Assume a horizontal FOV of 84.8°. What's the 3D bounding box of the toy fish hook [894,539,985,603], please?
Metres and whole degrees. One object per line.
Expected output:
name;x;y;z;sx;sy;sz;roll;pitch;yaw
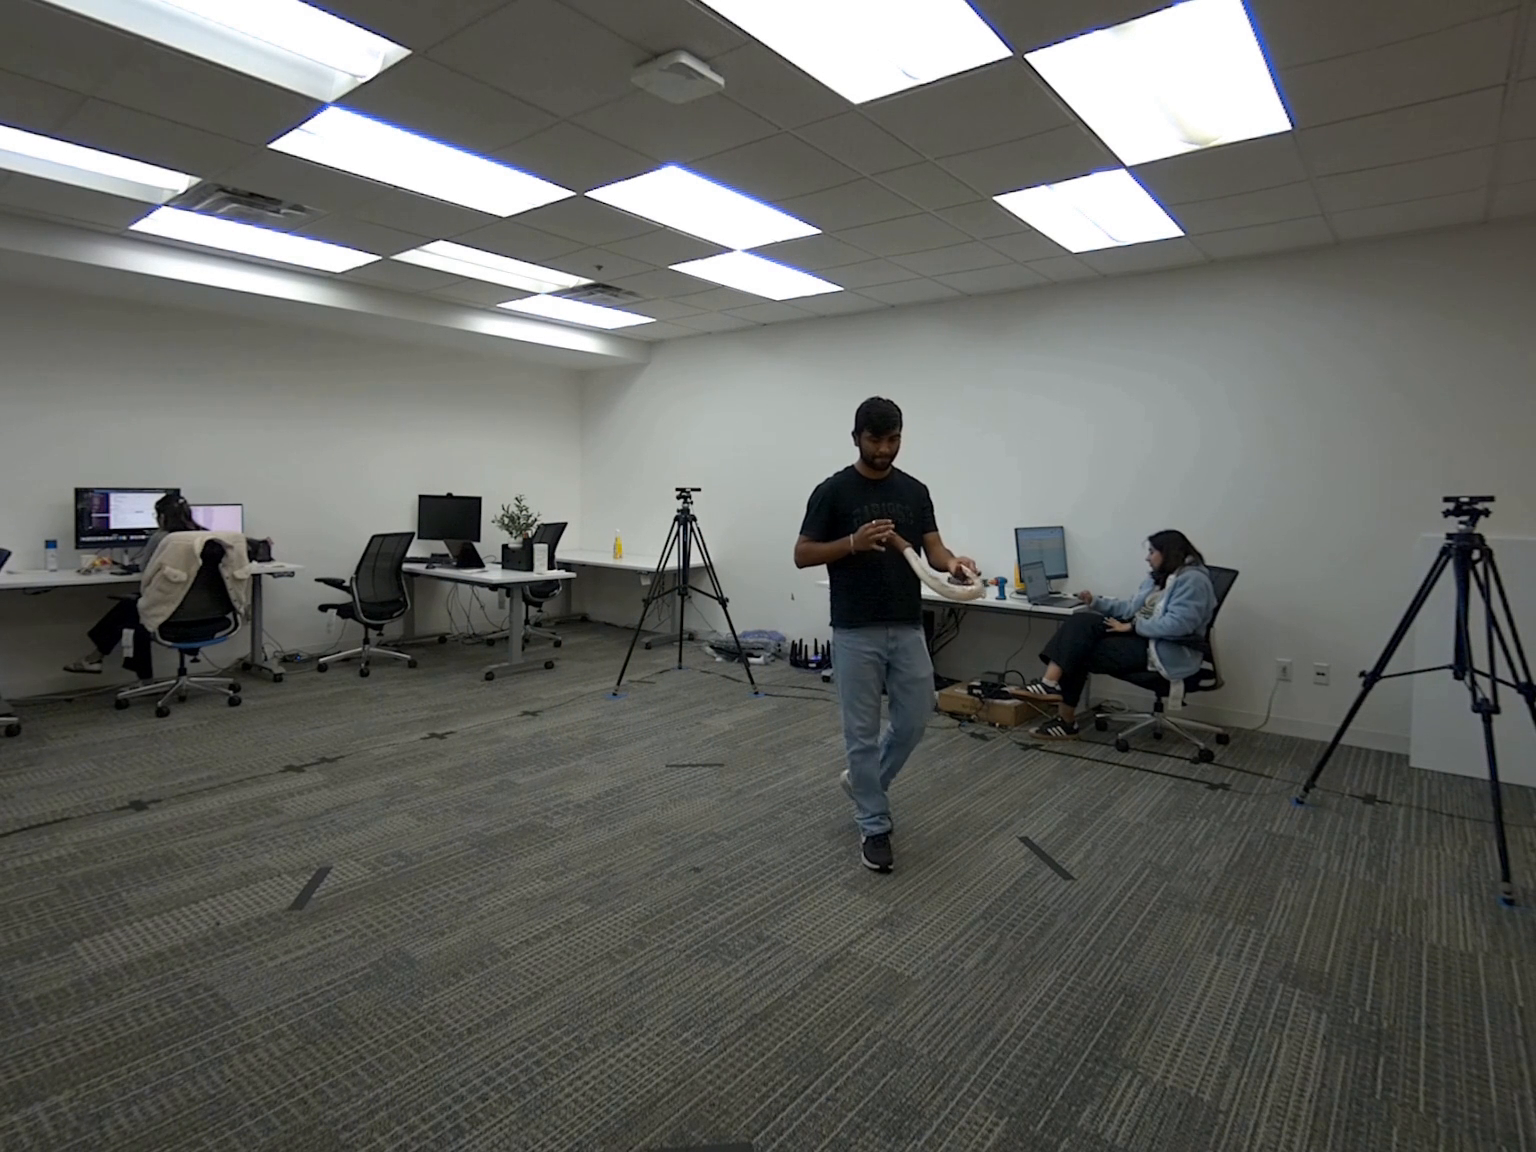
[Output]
toy fish hook;0.557;-0.065;2.931;0.219;0.047;0.528;-4;34;-30
